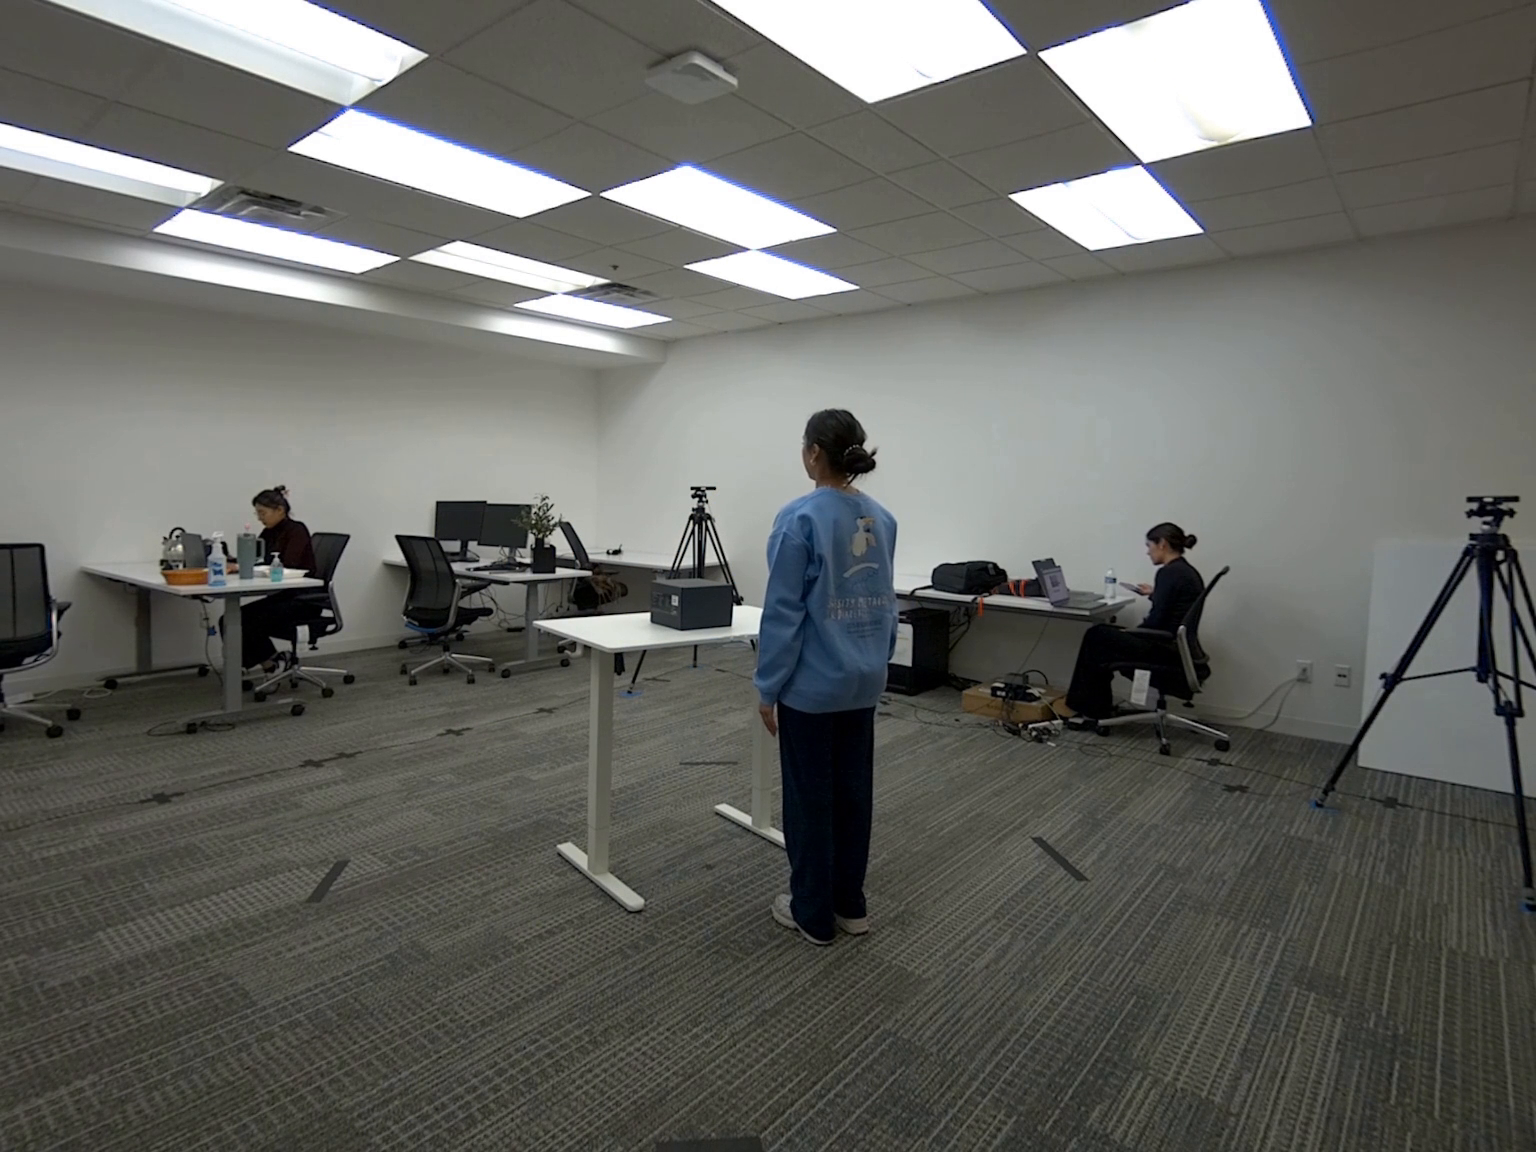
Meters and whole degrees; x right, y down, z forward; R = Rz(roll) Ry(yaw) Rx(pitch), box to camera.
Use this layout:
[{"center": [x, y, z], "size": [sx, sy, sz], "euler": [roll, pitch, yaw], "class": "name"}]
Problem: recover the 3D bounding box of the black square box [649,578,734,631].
[{"center": [-0.288, 0.100, 3.136], "size": [0.221, 0.155, 0.224], "euler": [-2, 6, -37], "class": "black square box"}]
